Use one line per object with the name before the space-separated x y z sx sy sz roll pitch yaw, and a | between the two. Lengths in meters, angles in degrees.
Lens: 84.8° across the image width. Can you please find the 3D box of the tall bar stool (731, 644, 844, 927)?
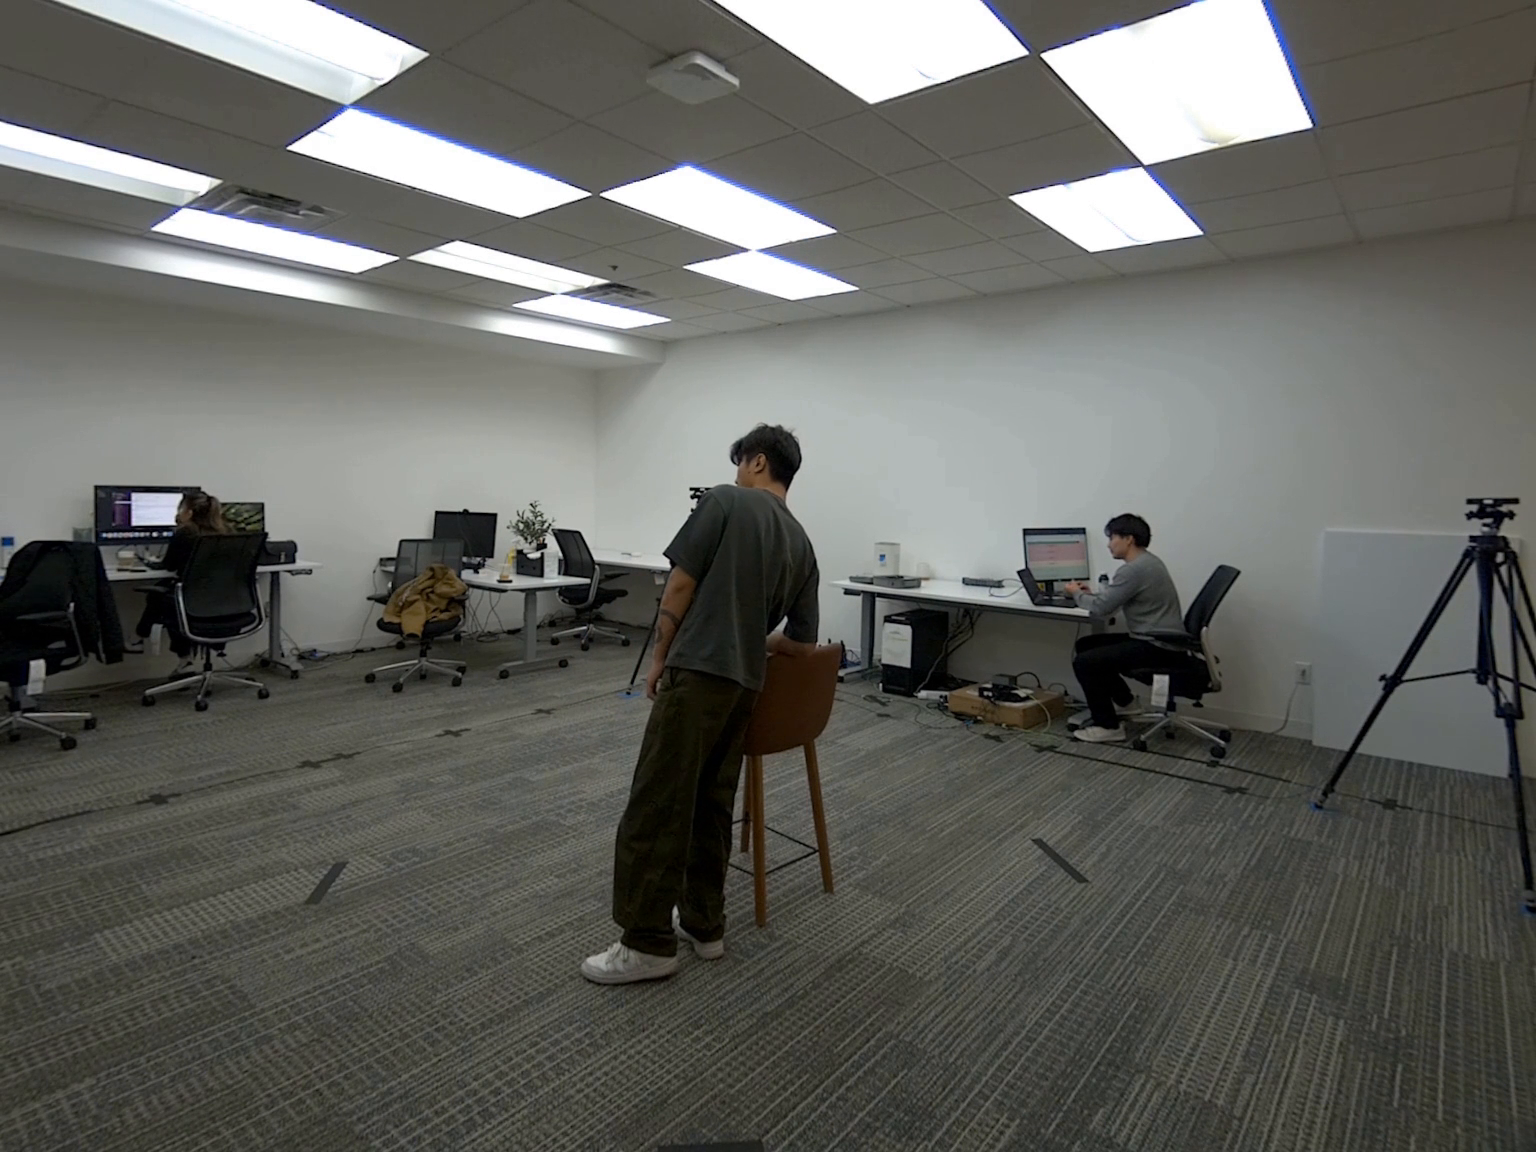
tall bar stool | -0.047 0.647 2.960 0.484 0.886 0.442 7 6 44
